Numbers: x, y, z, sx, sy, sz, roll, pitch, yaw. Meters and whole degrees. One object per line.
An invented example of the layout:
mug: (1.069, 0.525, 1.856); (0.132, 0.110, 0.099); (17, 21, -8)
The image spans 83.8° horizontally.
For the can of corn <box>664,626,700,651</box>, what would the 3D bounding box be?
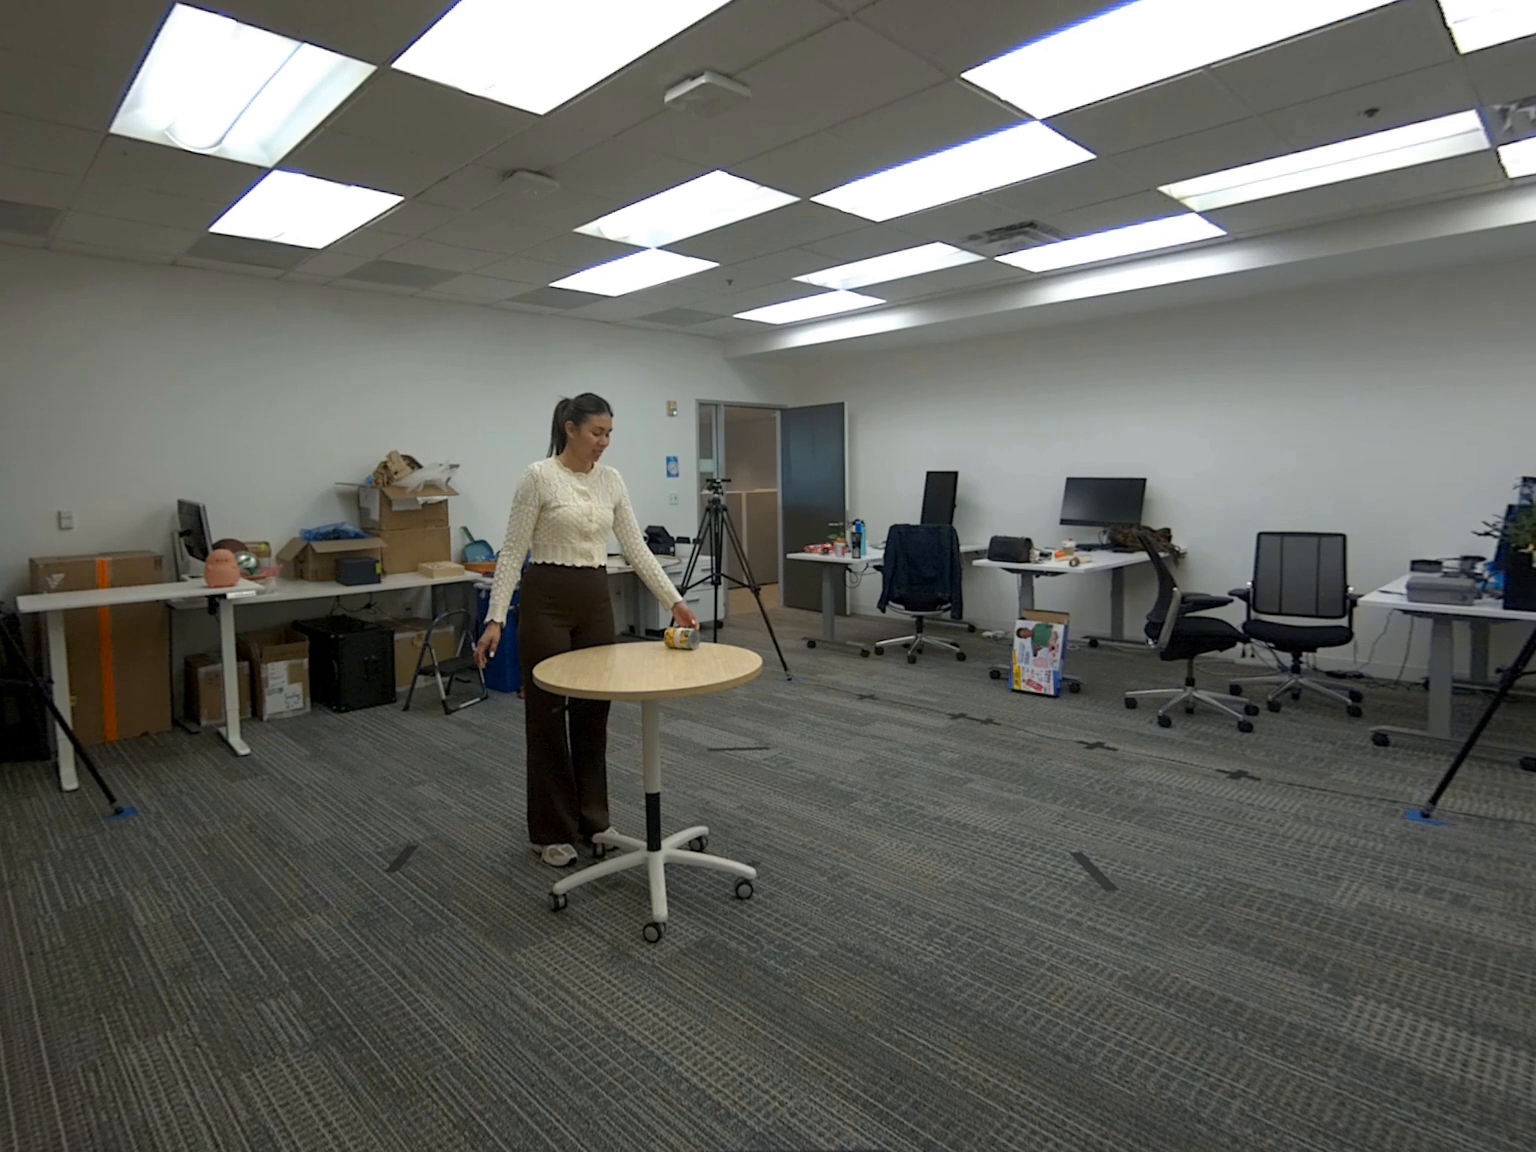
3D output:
can of corn: (-0.313, 0.228, 3.093); (0.112, 0.074, 0.074); (0, 5, 9)
